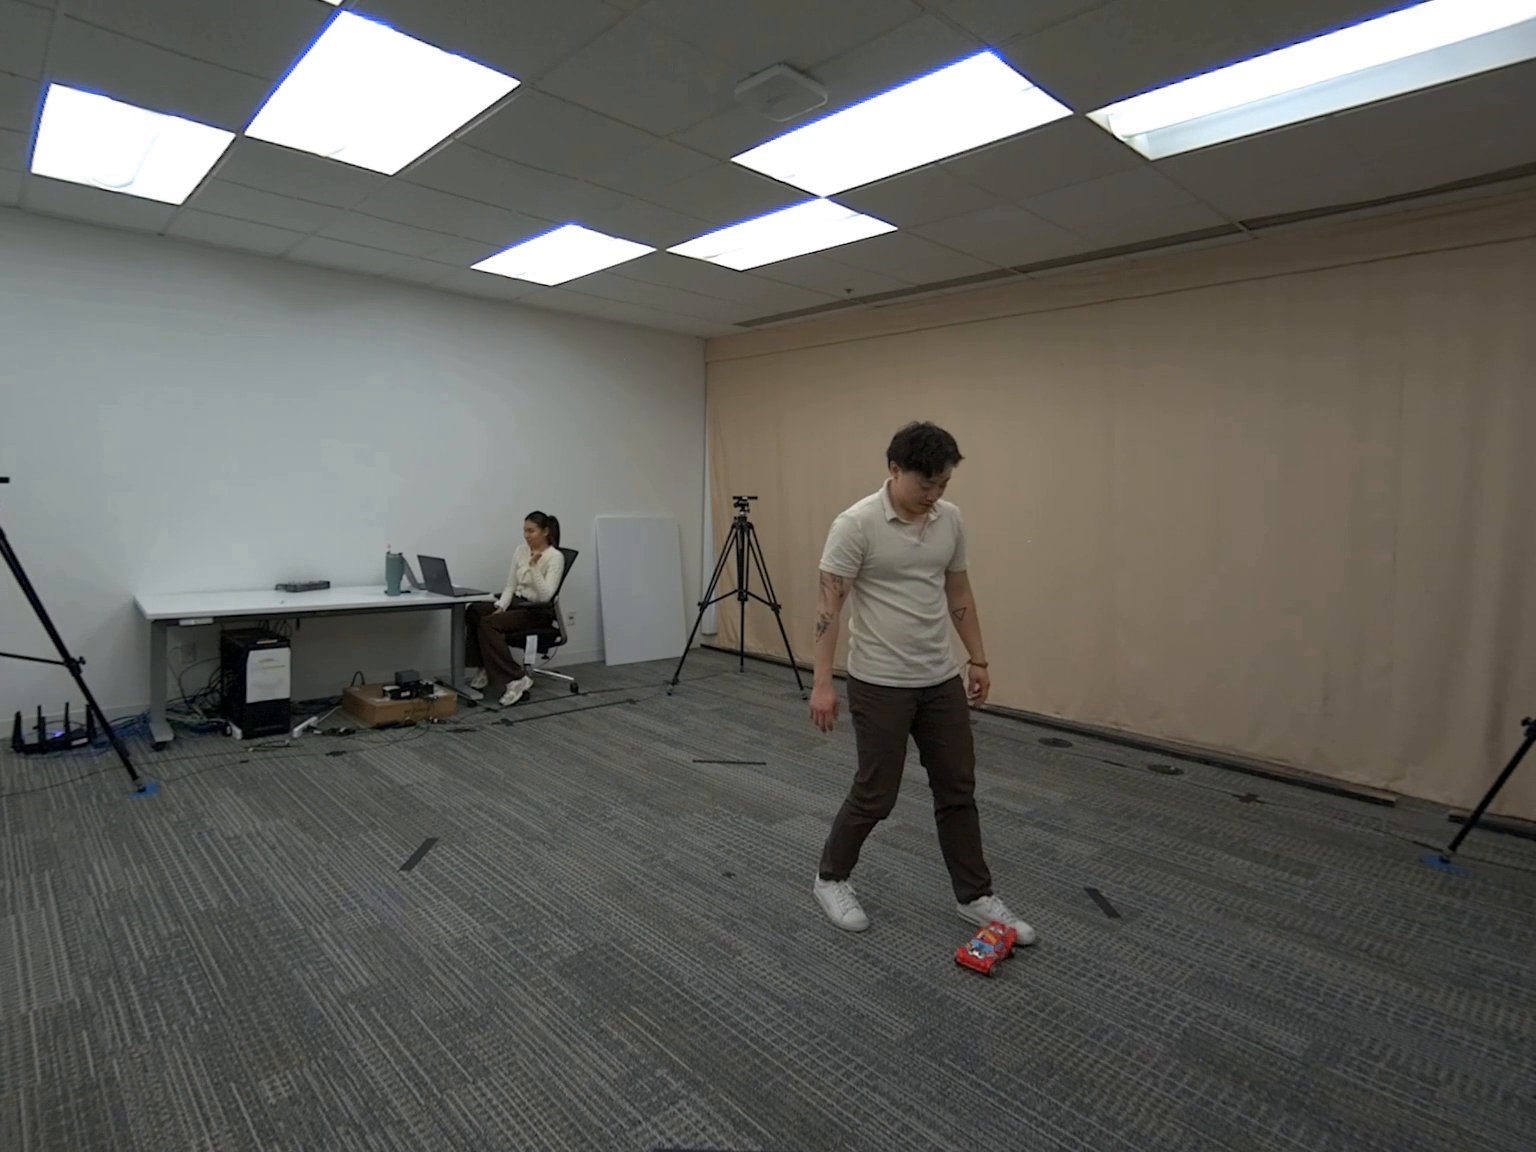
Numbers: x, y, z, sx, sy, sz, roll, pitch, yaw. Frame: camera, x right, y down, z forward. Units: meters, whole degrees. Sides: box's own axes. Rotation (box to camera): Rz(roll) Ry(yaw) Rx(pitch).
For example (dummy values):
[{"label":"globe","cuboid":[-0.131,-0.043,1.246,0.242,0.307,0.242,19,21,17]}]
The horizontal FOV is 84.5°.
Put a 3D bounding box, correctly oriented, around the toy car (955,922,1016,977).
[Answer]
[{"label":"toy car","cuboid":[0.677,1.142,2.585,0.133,0.082,0.251,5,17,39]}]
